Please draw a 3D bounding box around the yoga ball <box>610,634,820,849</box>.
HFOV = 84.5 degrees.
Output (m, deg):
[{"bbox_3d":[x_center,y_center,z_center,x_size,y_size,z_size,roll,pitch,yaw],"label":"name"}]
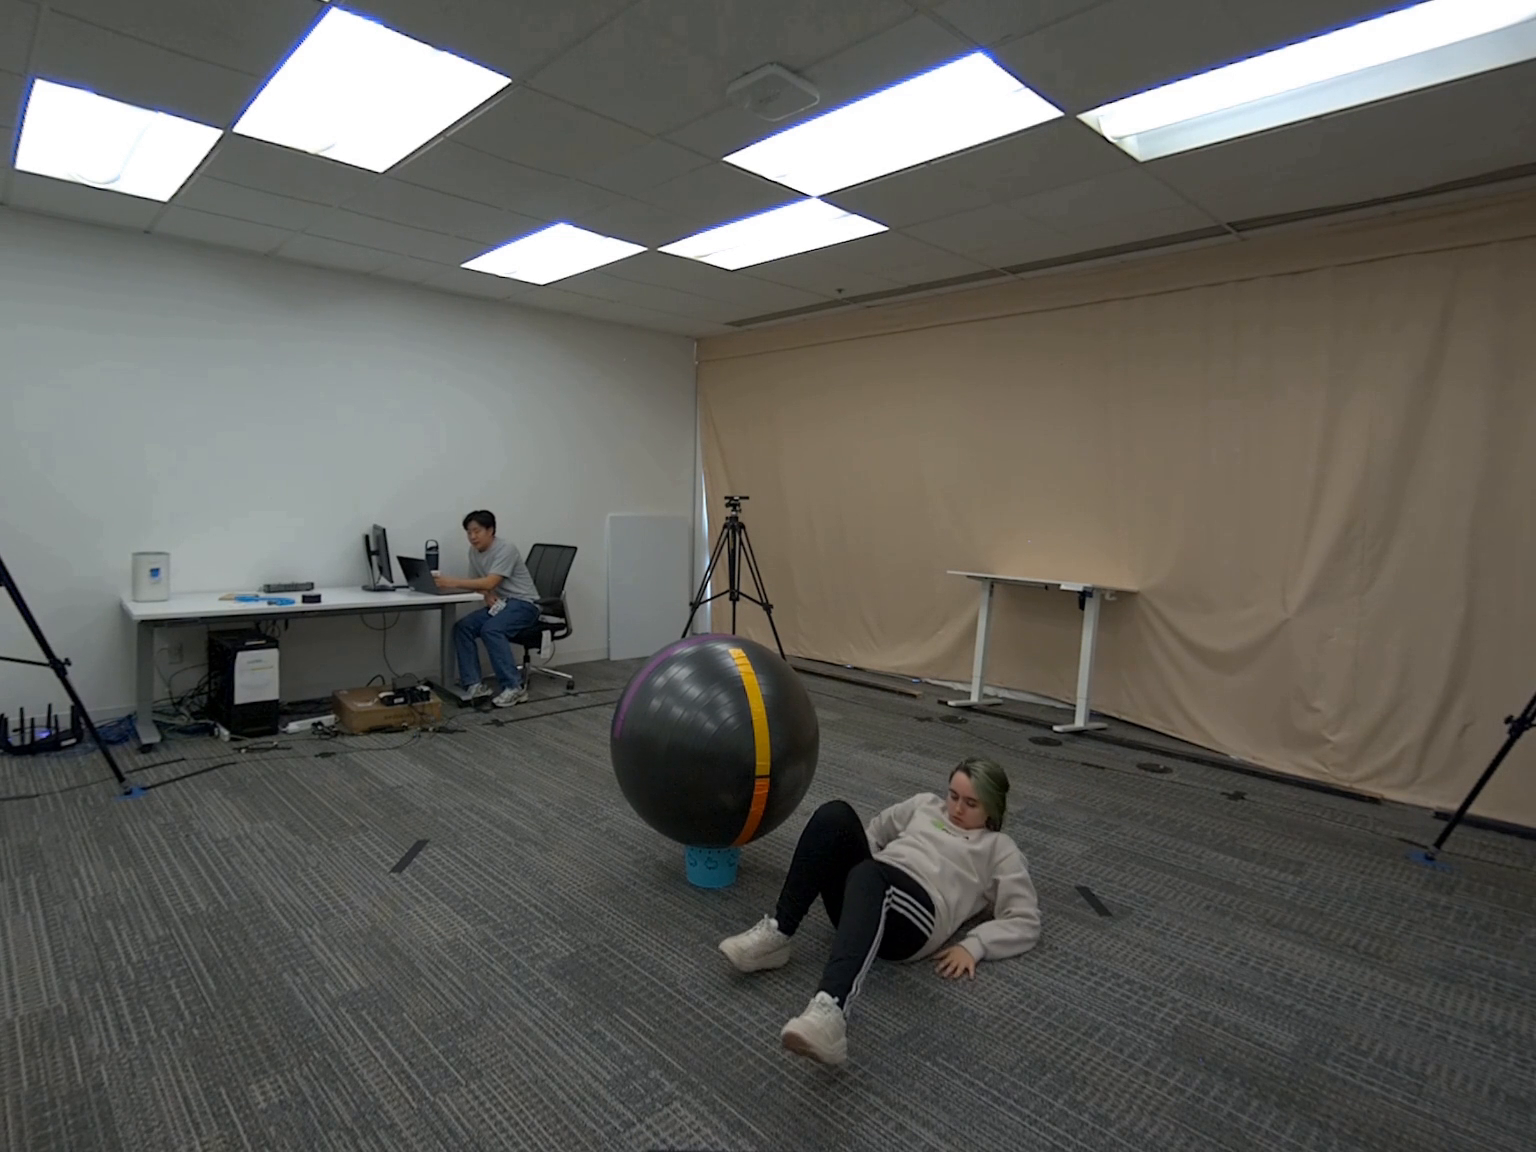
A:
[{"bbox_3d":[-0.198,0.593,3.062,0.757,0.756,0.761,1,4,-1],"label":"yoga ball"}]
